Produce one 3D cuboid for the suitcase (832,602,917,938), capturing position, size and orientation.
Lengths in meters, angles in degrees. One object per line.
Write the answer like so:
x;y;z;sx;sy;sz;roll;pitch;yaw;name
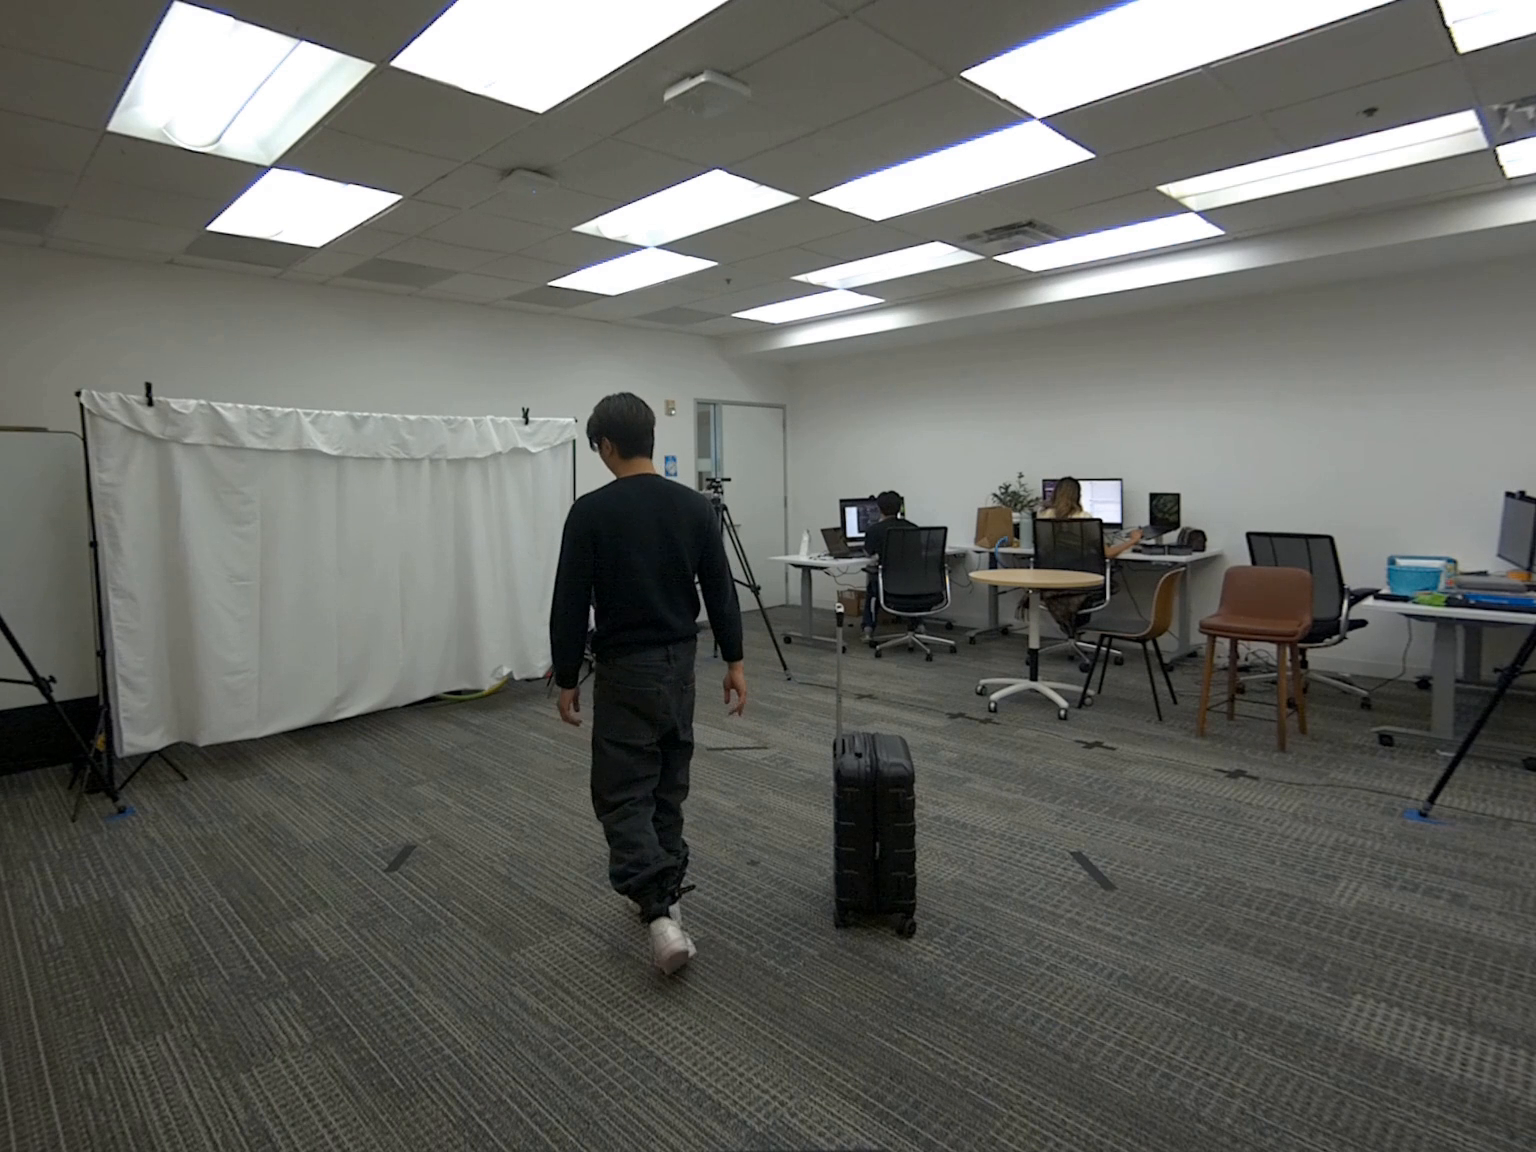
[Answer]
0.342;0.594;2.736;0.259;0.974;0.383;0;5;5;suitcase
